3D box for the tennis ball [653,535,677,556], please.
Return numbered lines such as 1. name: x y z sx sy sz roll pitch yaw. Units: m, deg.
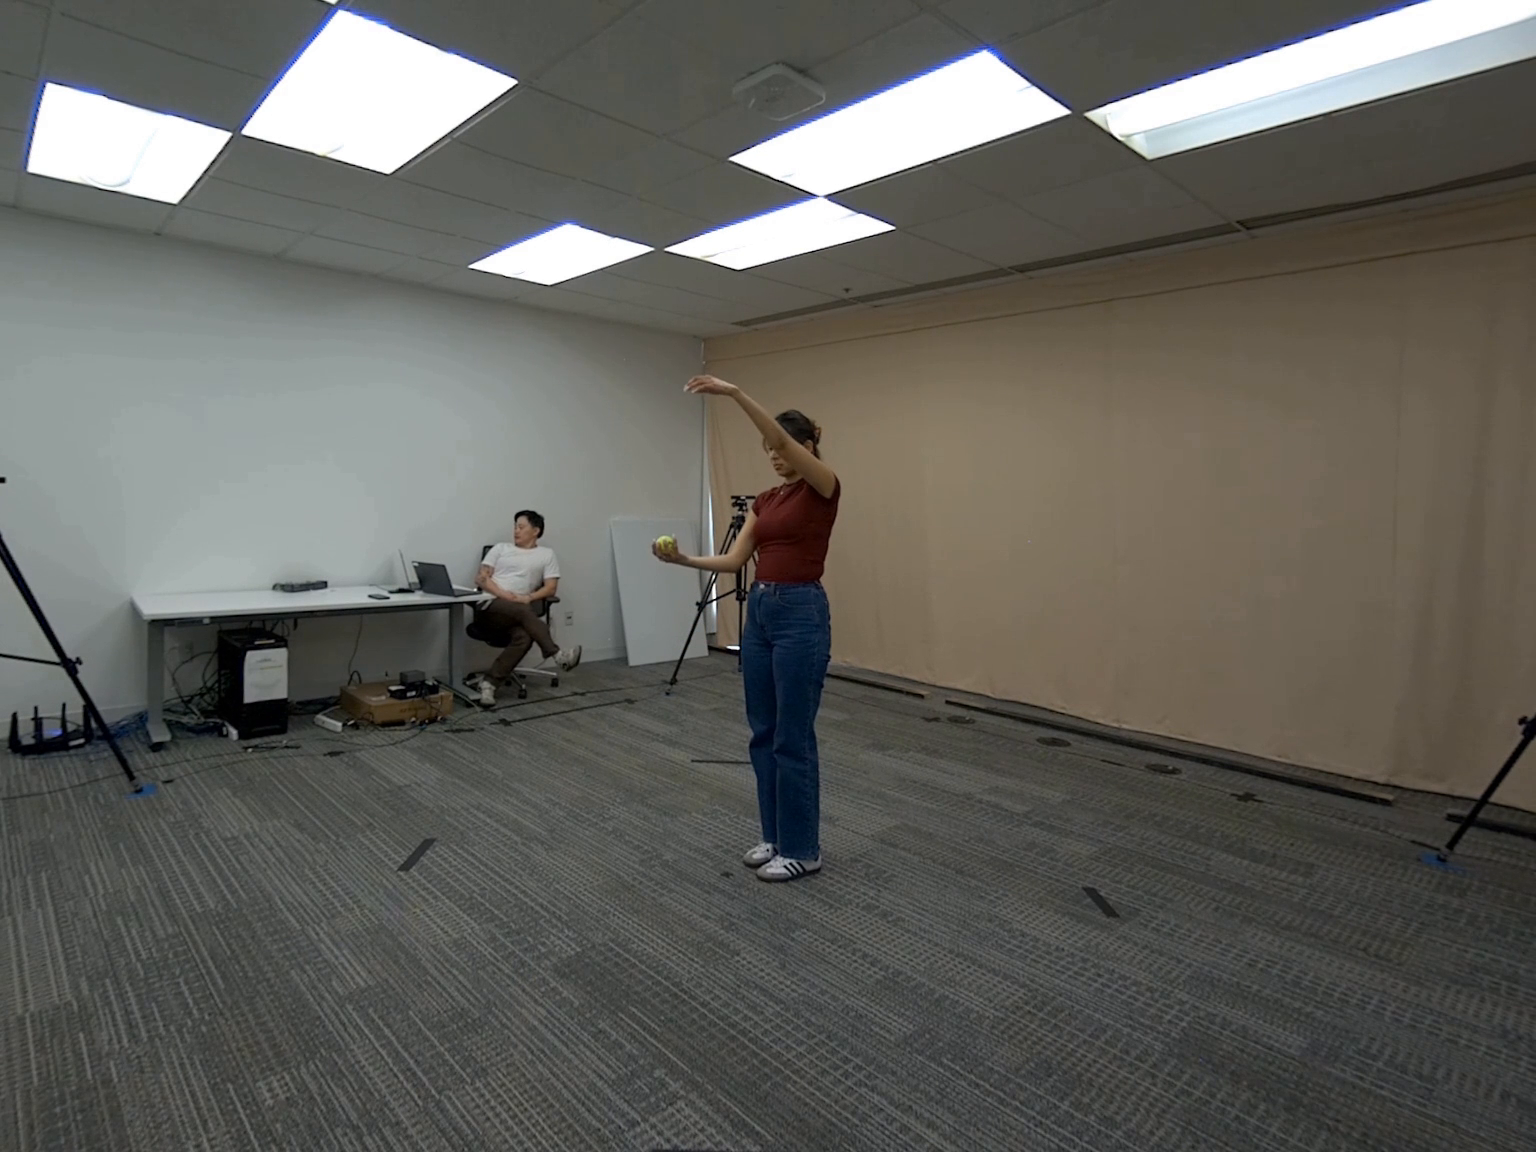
1. tennis ball: -0.365 -0.107 2.955 0.066 0.066 0.067 1 4 -1
